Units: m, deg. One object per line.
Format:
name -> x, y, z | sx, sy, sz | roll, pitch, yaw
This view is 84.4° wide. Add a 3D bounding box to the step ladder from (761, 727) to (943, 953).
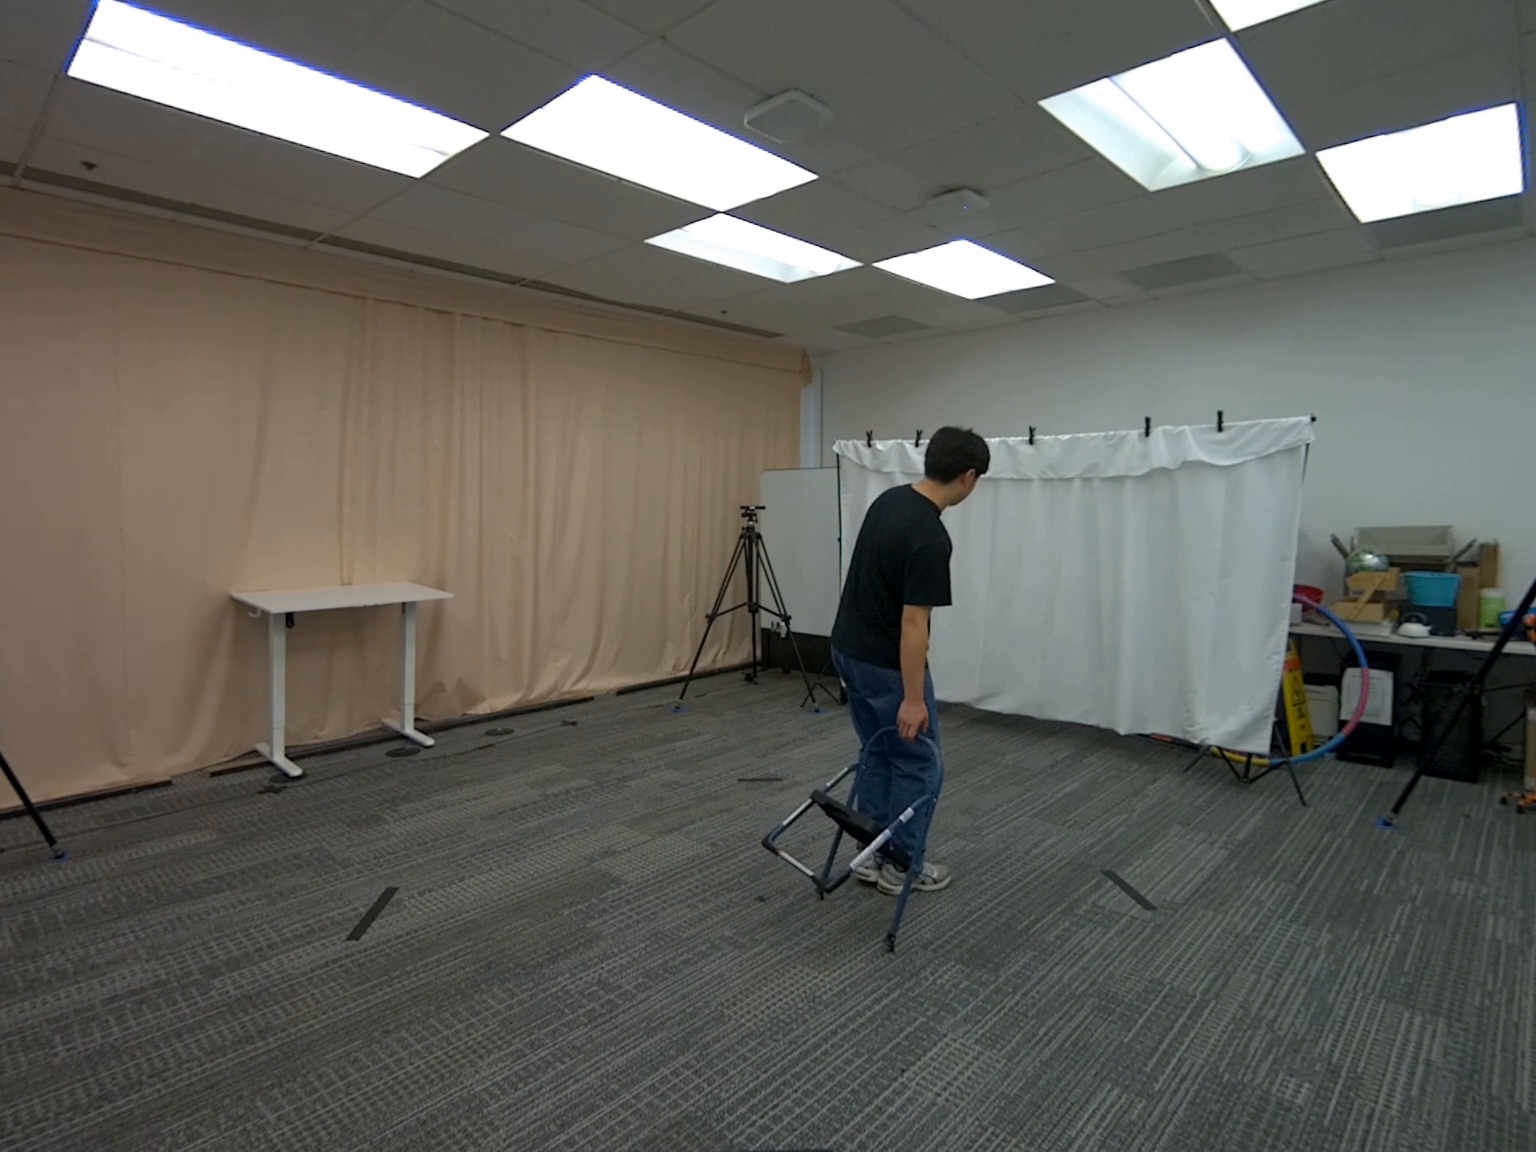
step ladder -> 0.366, 0.813, 2.827 | 0.341, 0.604, 0.443 | 46, -17, -23
